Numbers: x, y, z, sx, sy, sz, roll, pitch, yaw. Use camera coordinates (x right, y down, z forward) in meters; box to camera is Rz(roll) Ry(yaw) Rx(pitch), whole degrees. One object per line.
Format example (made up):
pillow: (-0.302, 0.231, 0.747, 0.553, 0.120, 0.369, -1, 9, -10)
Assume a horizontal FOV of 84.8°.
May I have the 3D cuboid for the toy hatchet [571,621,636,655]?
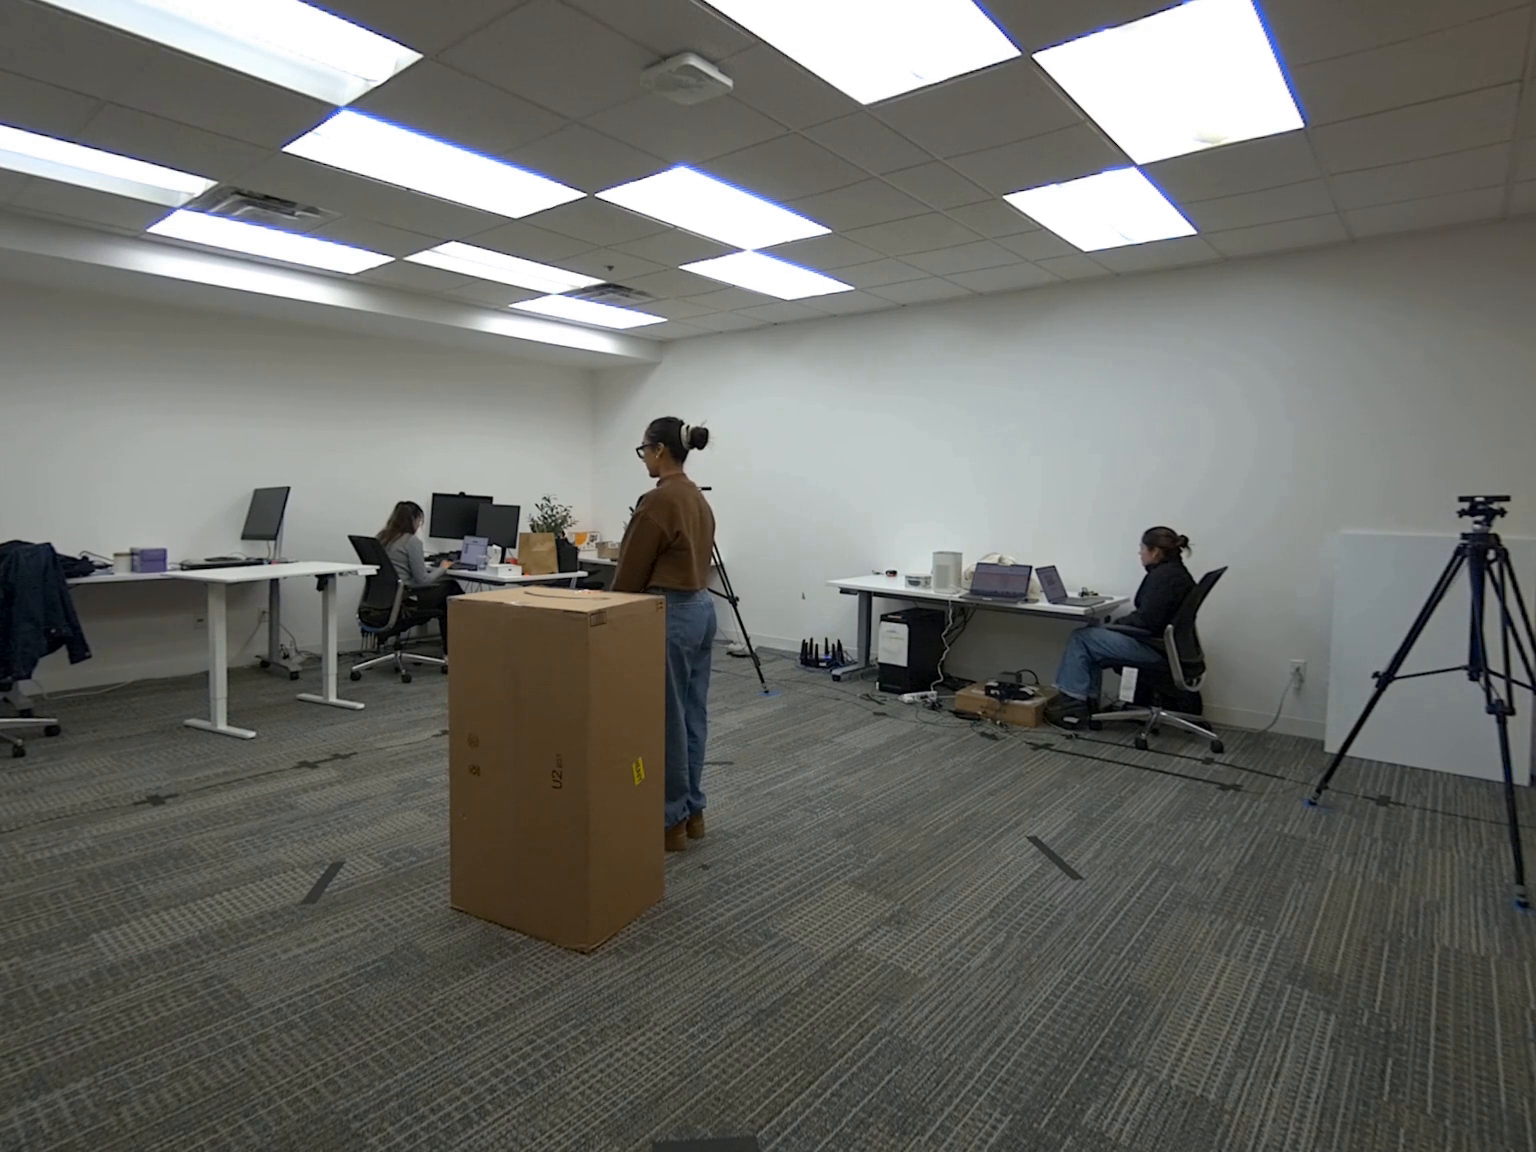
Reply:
toy hatchet: (-0.684, 0.252, 3.482, 0.276, 0.133, 0.028, -2, -18, 22)
